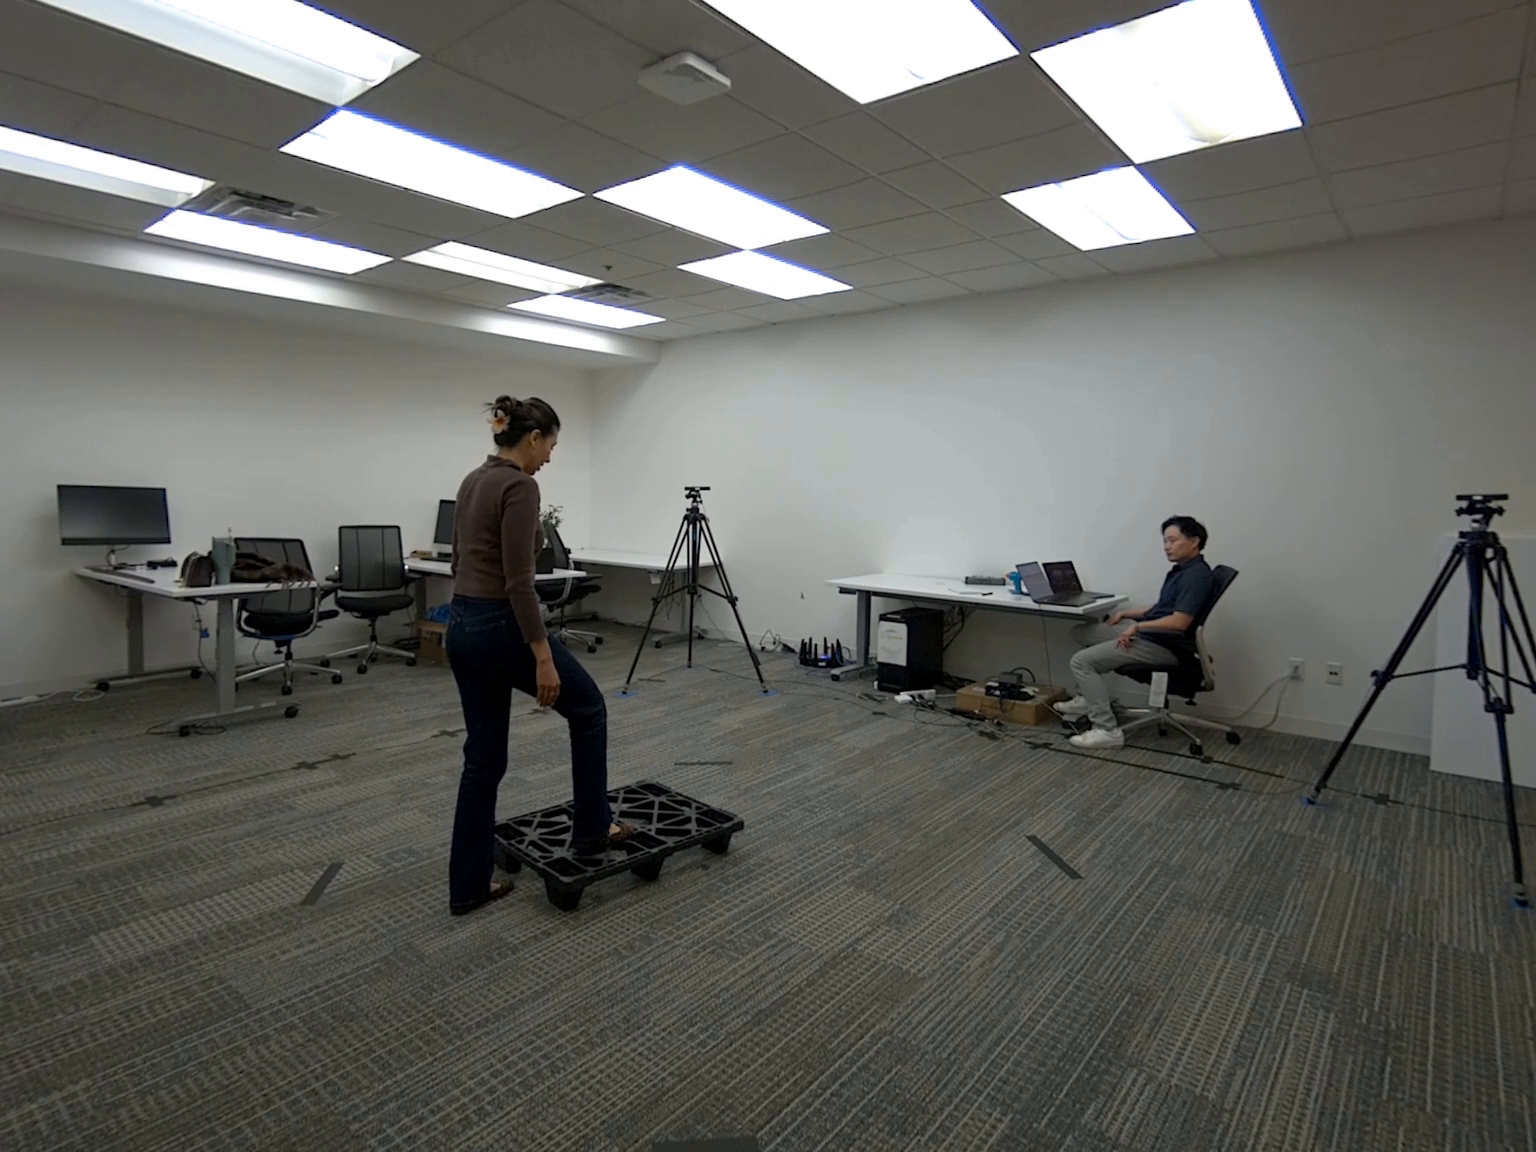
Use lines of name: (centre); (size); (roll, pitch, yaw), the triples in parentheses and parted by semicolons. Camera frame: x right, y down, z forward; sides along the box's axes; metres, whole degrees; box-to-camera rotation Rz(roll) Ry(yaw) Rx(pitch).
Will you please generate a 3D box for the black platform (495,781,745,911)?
black platform: (-0.578, 0.987, 3.180); (0.782, 0.142, 0.626); (-5, 9, -44)
